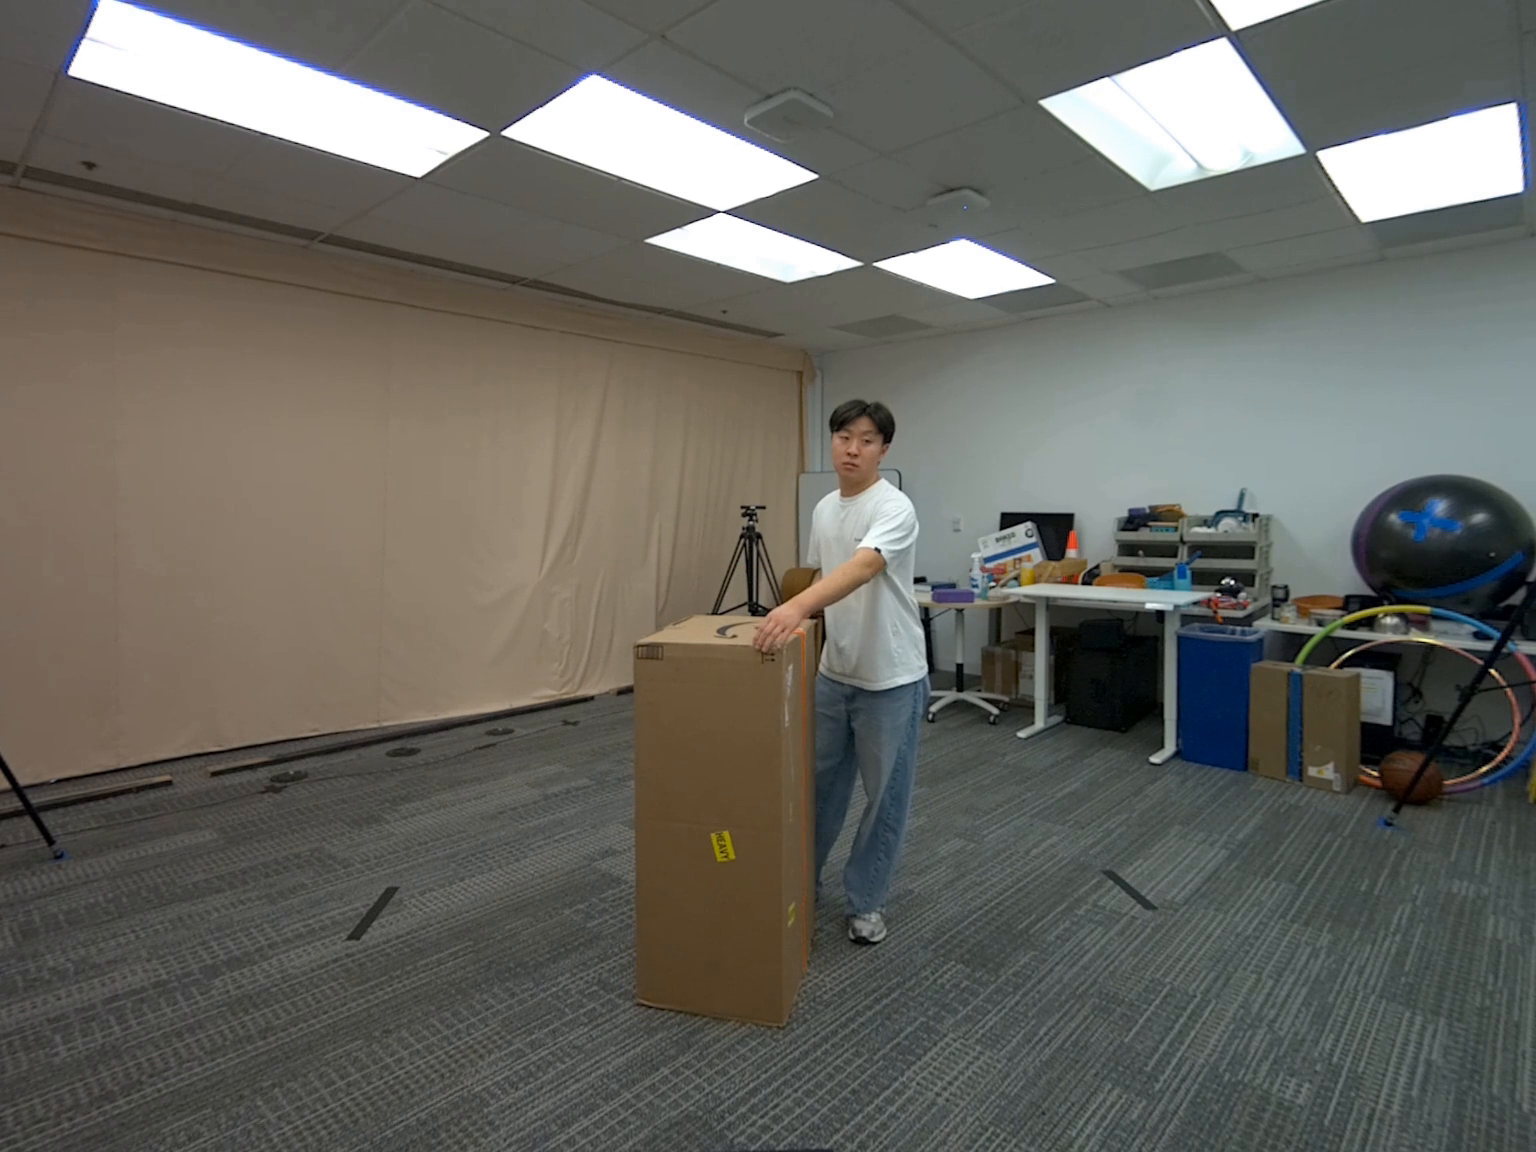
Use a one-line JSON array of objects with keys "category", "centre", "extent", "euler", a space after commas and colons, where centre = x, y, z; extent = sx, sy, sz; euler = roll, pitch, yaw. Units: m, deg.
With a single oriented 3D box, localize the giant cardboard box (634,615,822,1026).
[{"category": "giant cardboard box", "centre": [-0.112, 0.671, 2.541], "extent": [0.433, 1.024, 0.569], "euler": [1, 3, 14]}]
